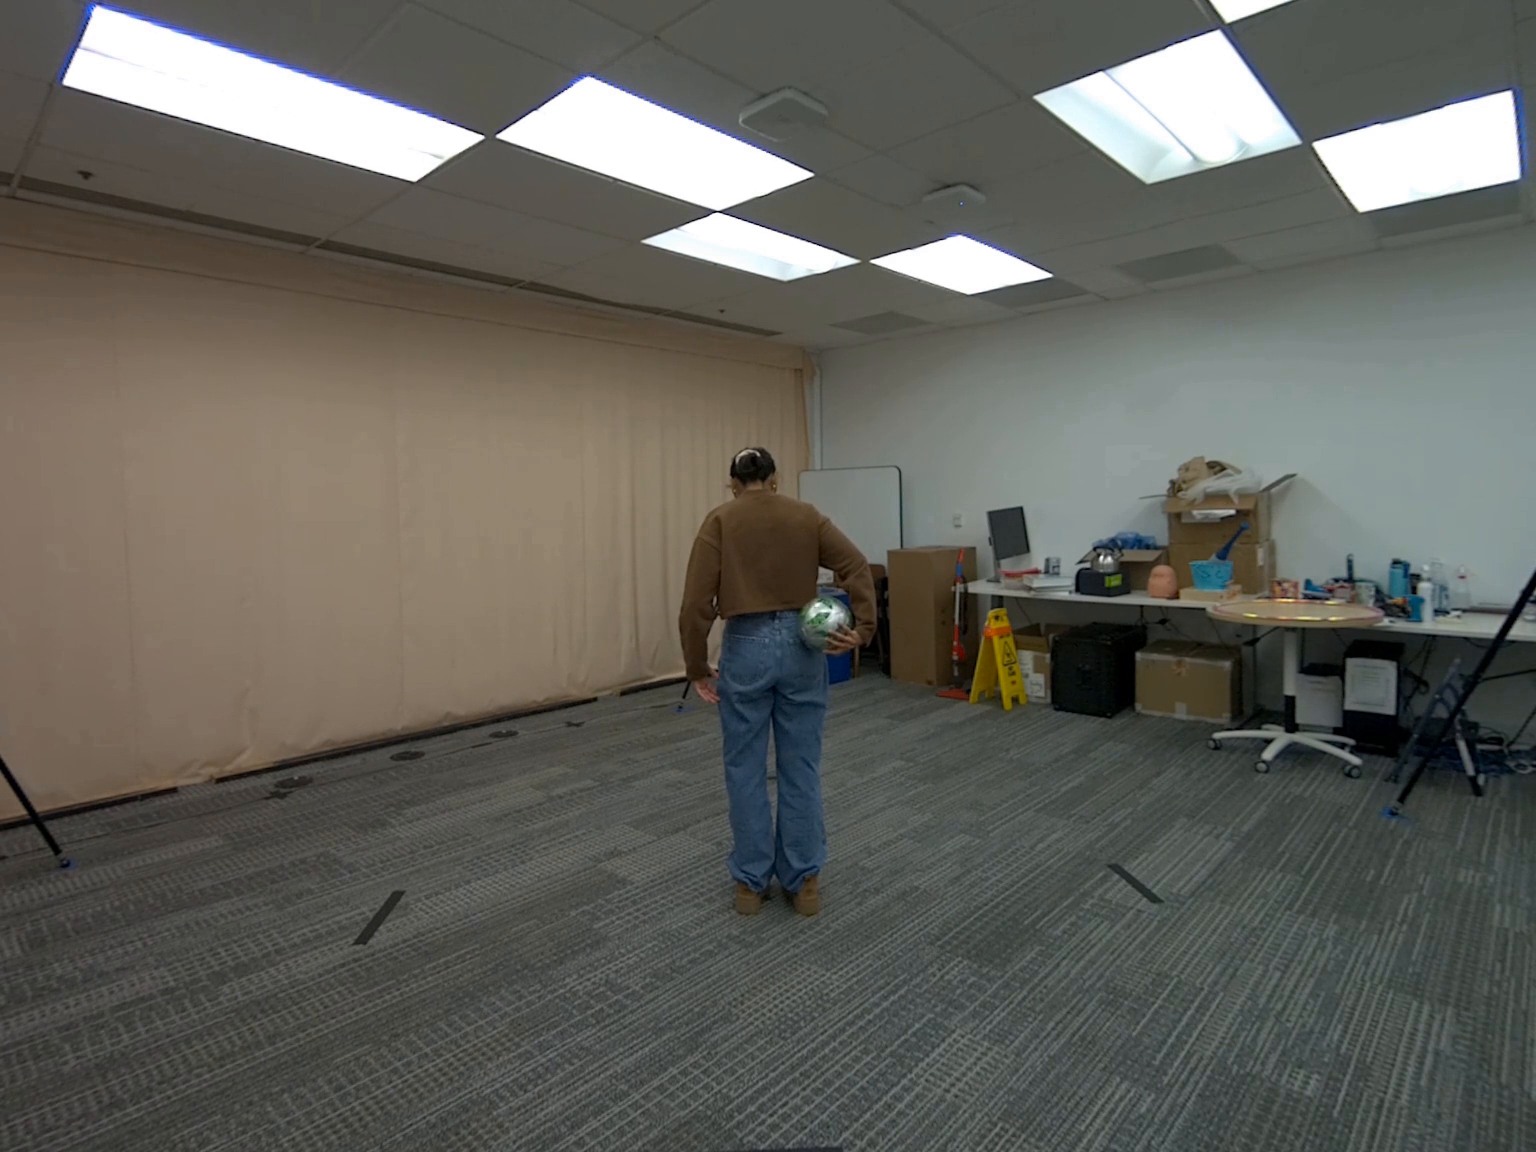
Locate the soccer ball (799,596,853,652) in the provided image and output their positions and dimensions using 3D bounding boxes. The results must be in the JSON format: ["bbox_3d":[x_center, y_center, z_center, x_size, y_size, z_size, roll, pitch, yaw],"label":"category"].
[{"bbox_3d":[0.200,0.168,2.781,0.187,0.187,0.188,-1,4,-2],"label":"soccer ball"}]
